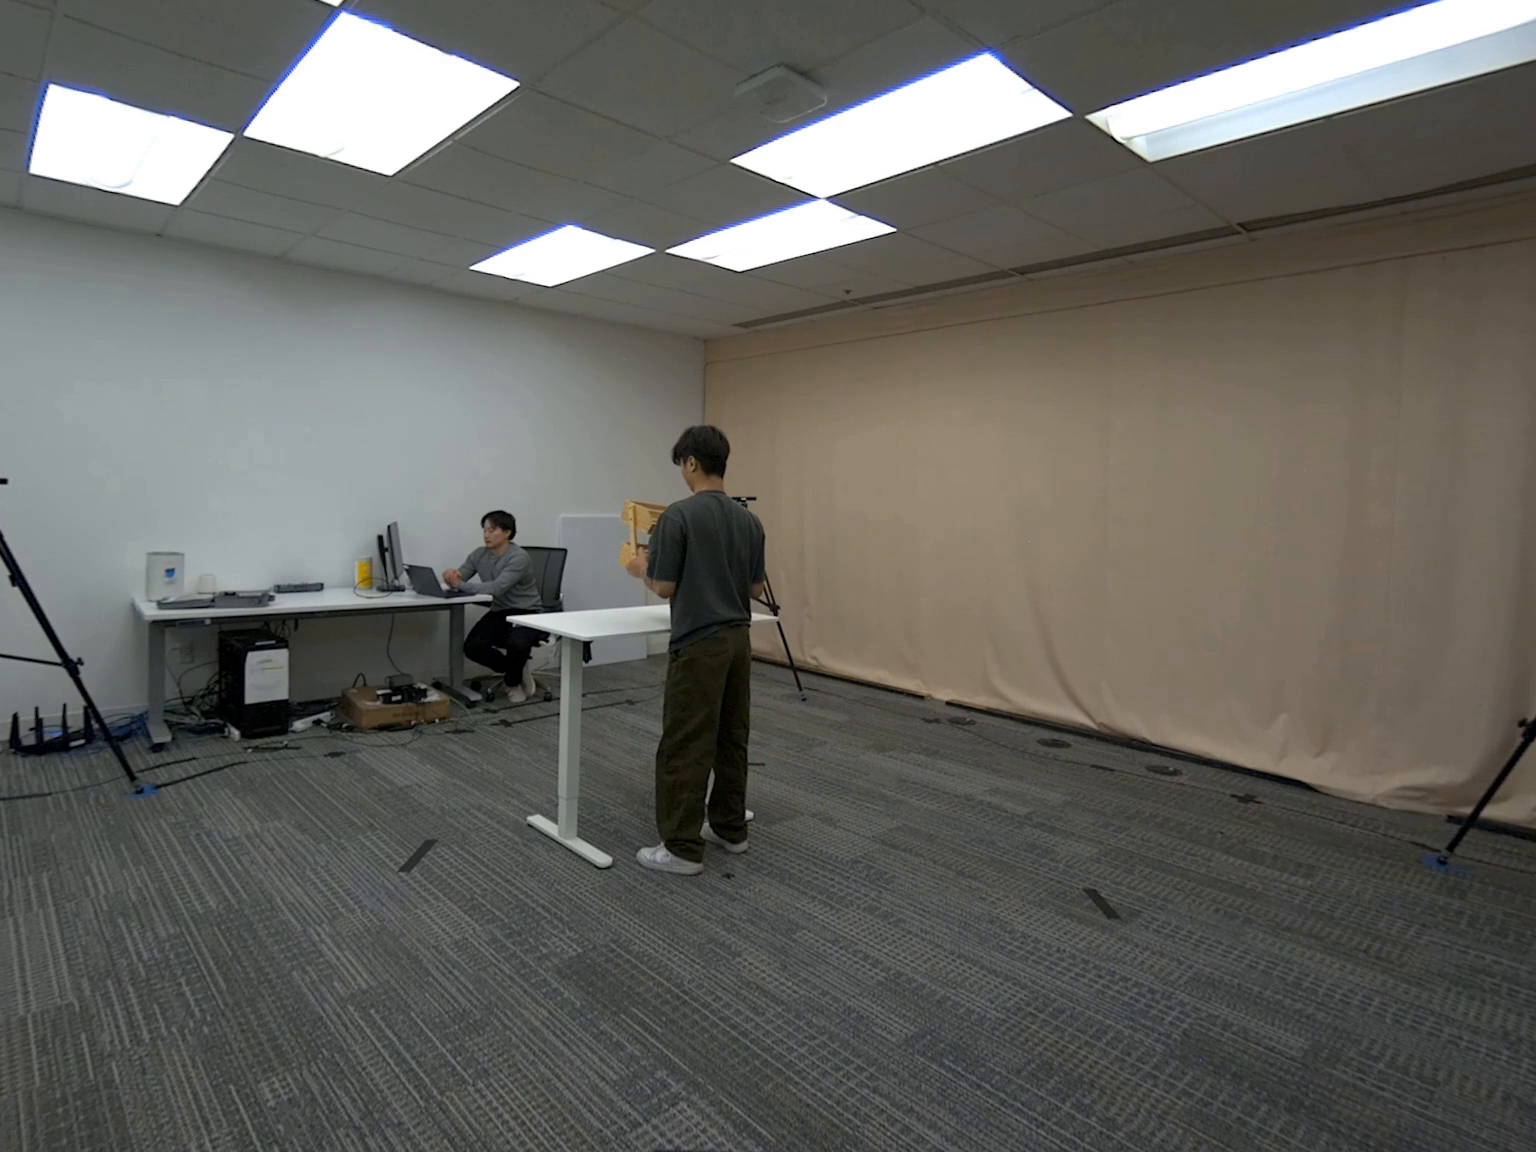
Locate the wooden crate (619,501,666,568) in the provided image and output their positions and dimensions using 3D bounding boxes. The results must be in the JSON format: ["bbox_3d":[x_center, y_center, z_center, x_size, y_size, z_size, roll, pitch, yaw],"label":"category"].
[{"bbox_3d":[-0.415,-0.141,3.496,0.316,0.272,0.311,5,13,-46],"label":"wooden crate"}]
